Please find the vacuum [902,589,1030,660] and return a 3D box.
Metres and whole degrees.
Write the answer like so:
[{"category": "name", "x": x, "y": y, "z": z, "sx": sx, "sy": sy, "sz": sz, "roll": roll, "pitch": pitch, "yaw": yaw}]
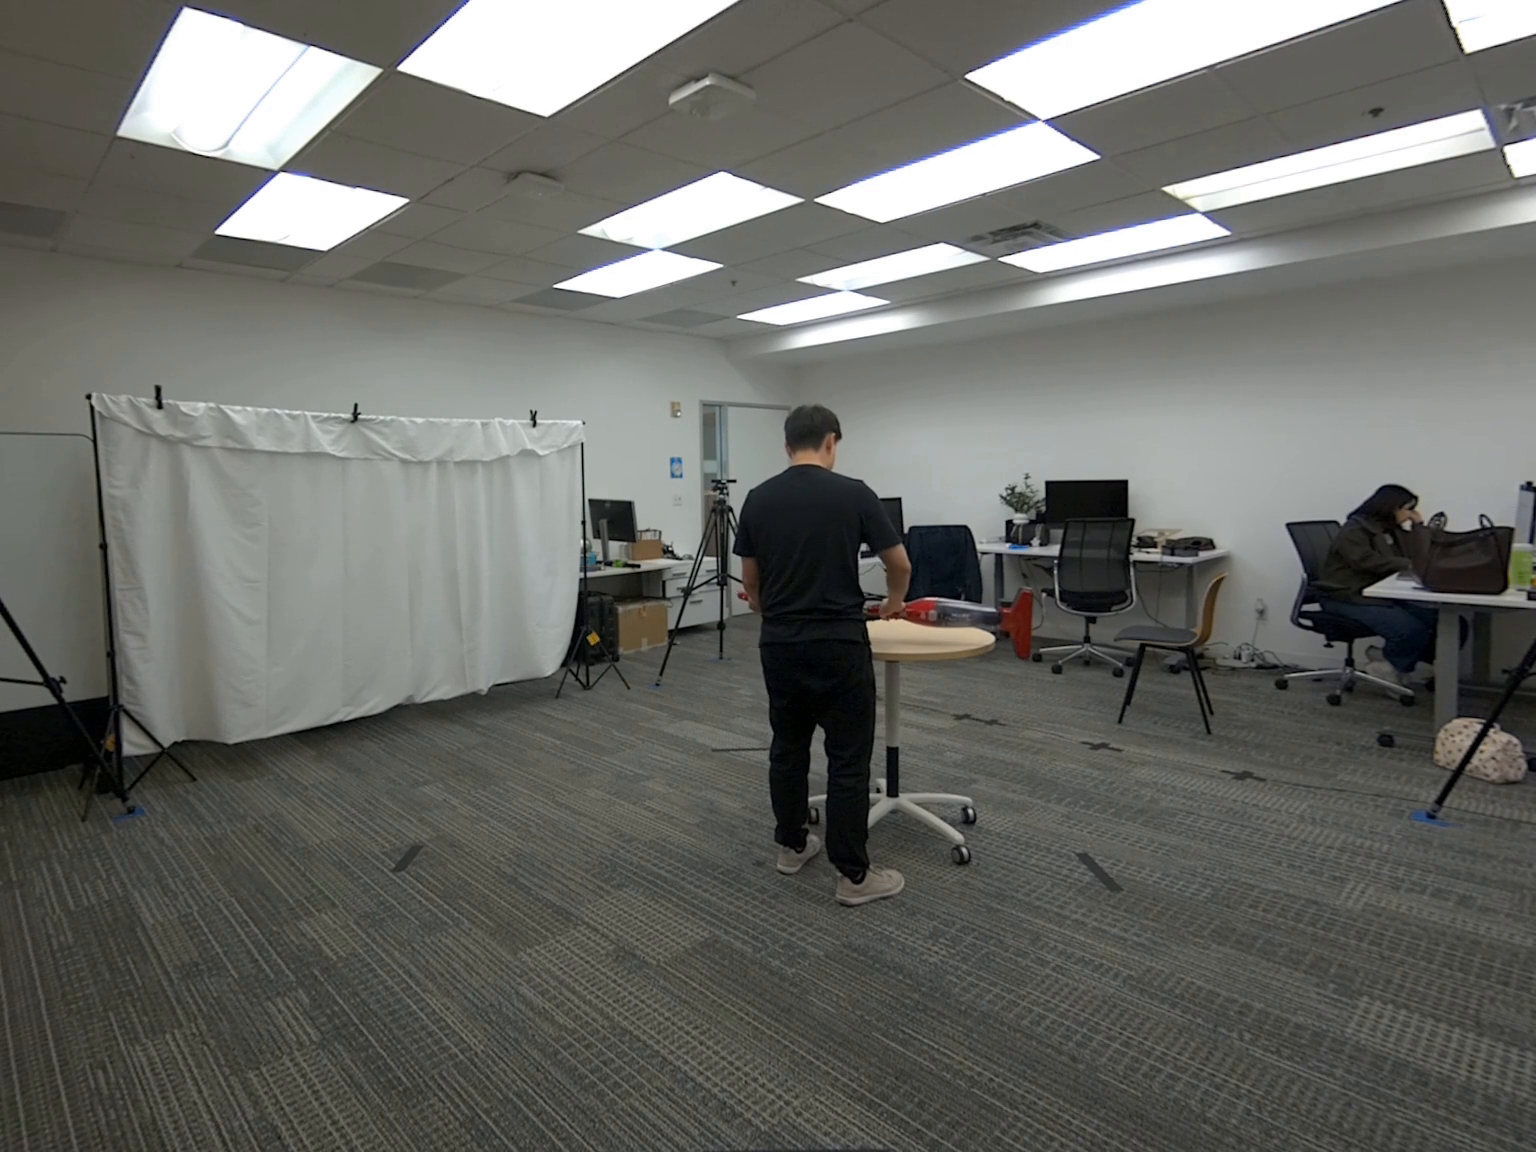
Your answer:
[{"category": "vacuum", "x": 0.384, "y": 0.126, "z": 3.198, "sx": 1.070, "sy": 0.250, "sz": 0.143, "roll": 4, "pitch": 13, "yaw": 20}]
